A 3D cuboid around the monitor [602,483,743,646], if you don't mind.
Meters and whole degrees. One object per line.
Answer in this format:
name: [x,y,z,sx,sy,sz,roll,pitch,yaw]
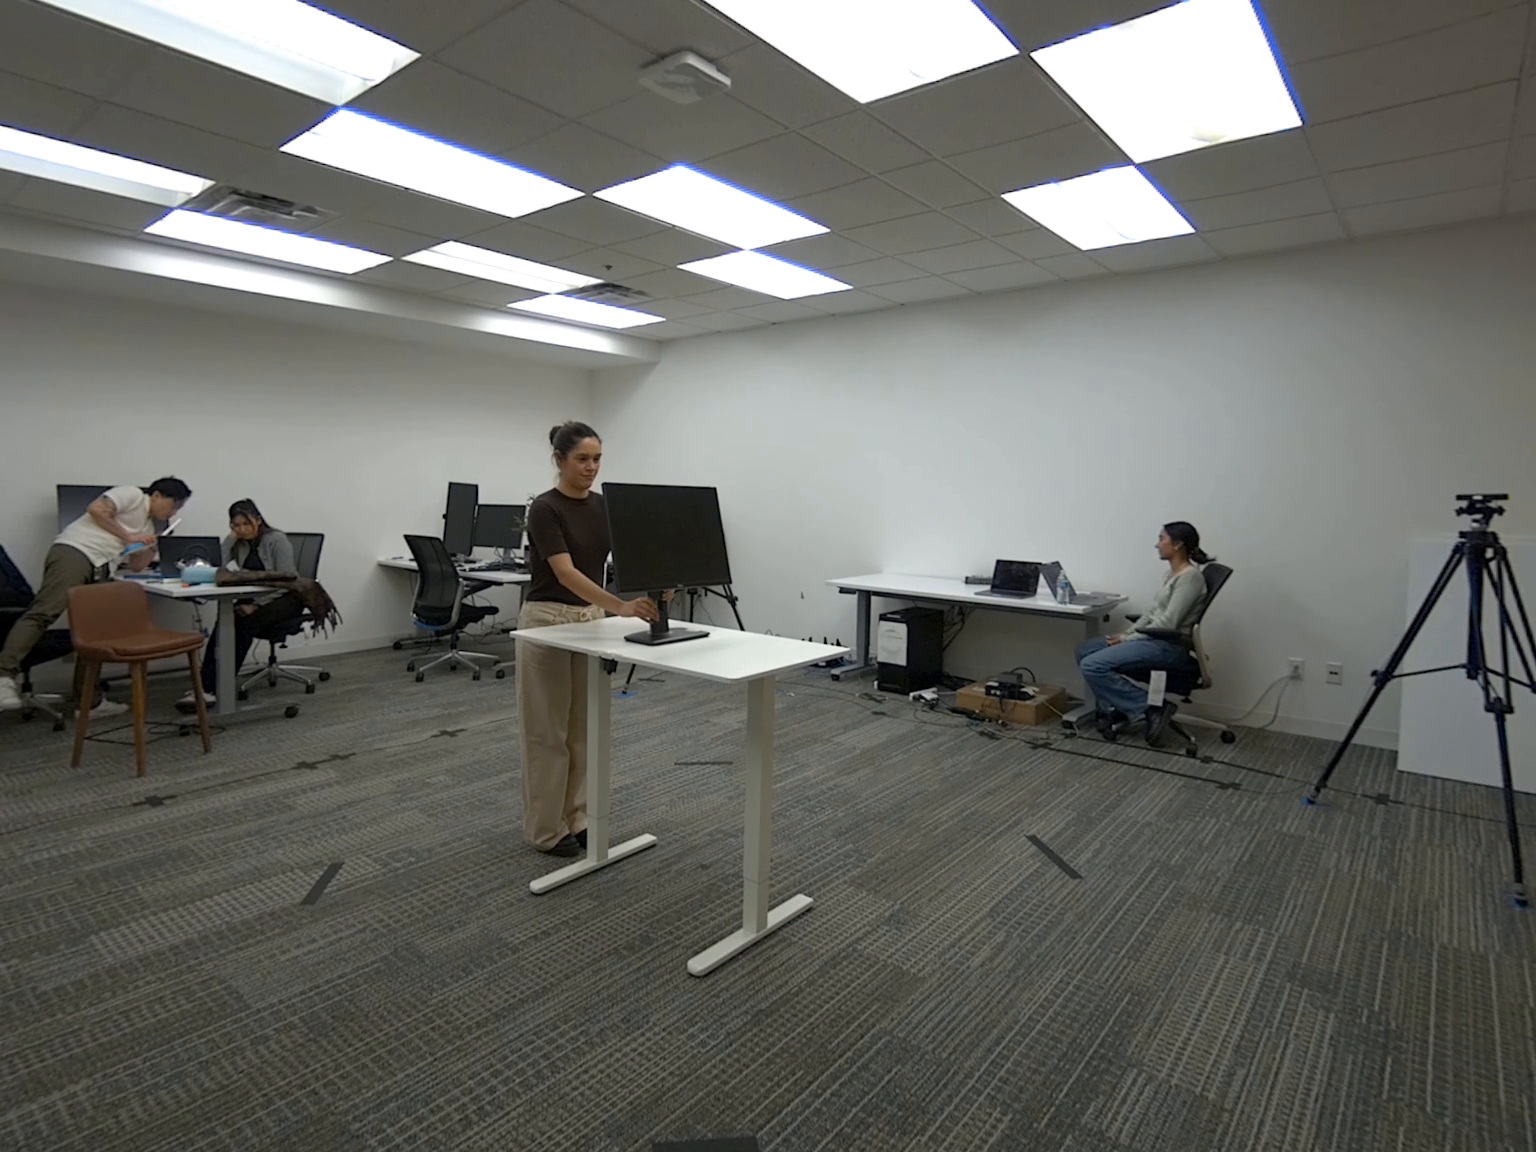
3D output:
monitor: [-0.356,-0.048,2.848,0.180,0.514,0.514,7,6,37]
